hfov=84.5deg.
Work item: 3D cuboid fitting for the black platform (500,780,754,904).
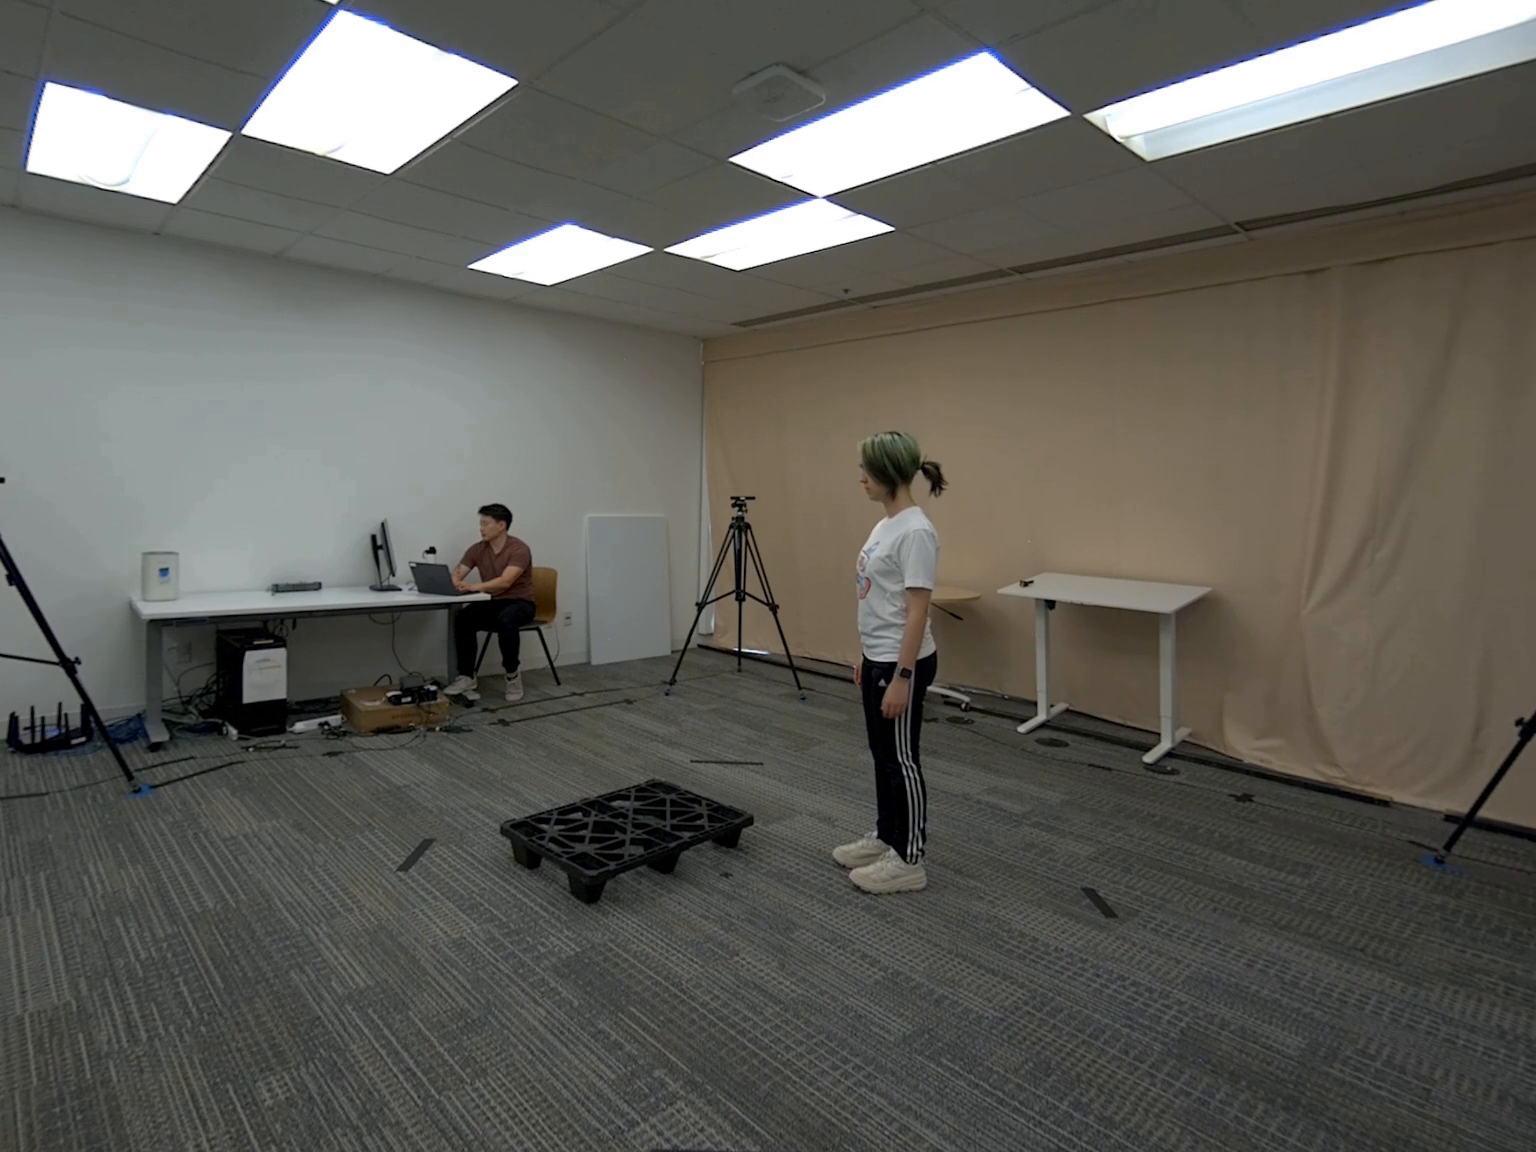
[{"bbox_3d":[-0.538,1.013,3.272,0.621,0.143,0.787,6,7,43],"label":"black platform"}]
